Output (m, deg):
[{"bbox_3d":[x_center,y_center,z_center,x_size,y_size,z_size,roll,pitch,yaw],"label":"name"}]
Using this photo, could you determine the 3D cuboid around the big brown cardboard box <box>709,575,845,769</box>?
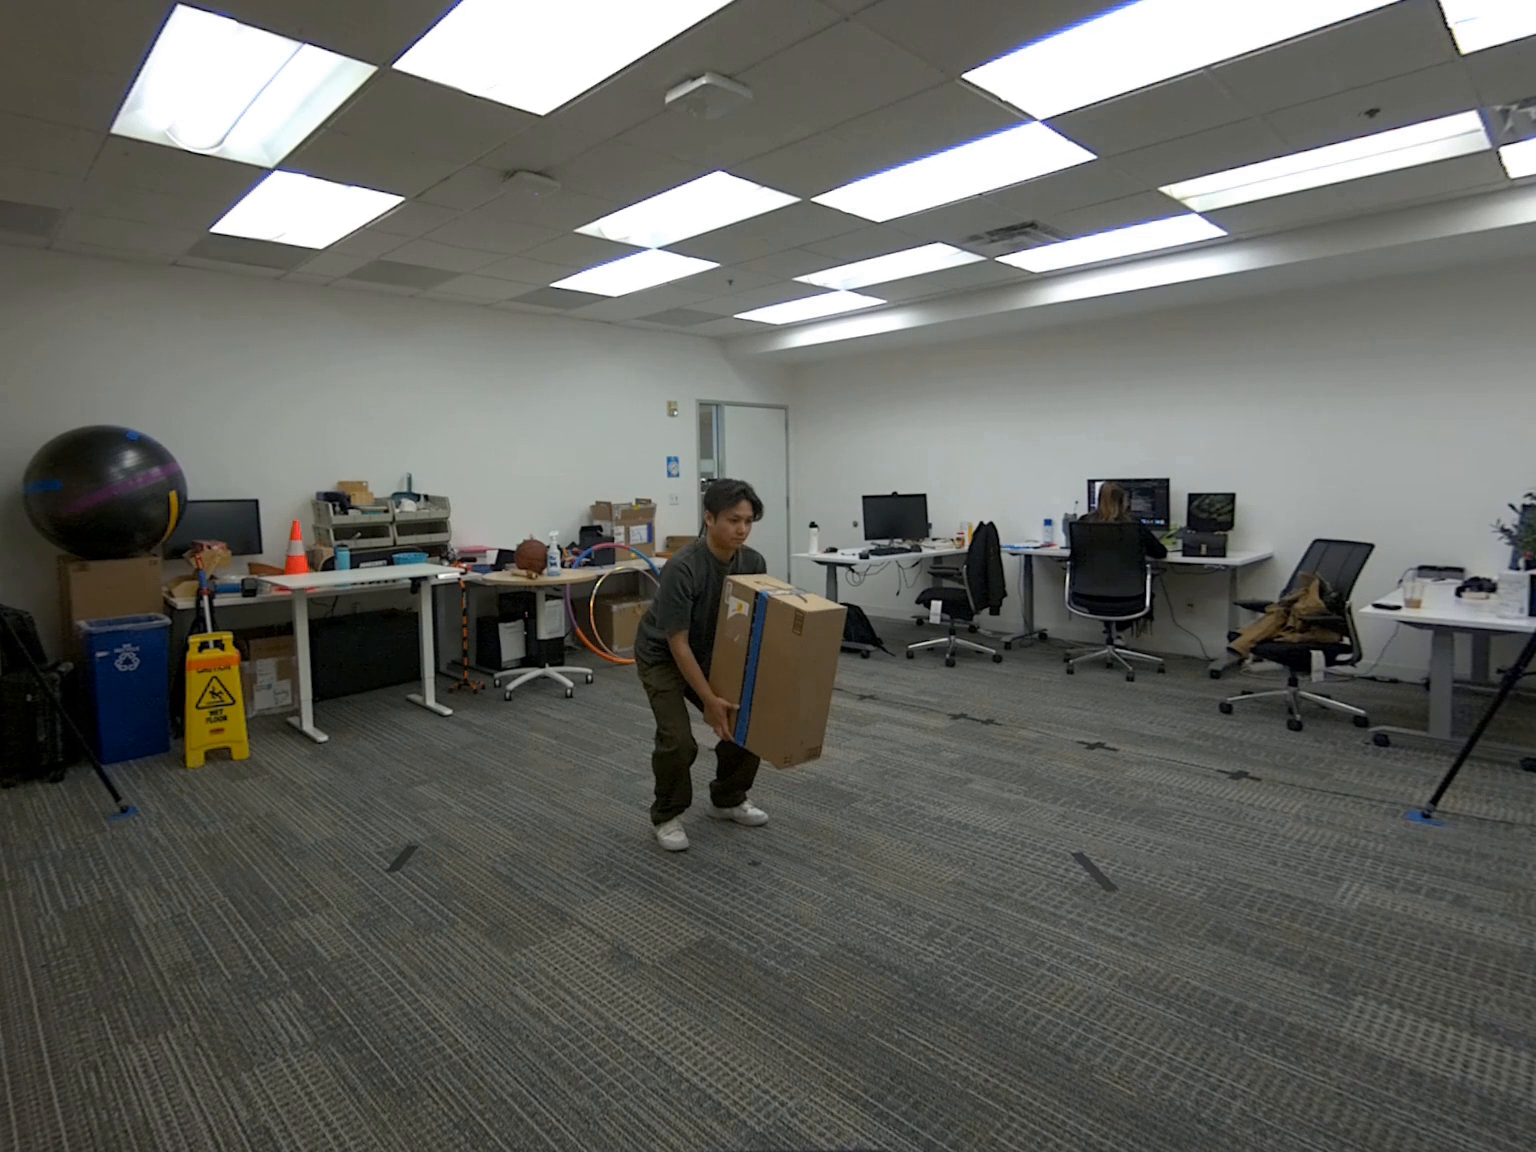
[{"bbox_3d":[0.018,0.329,3.075,0.227,0.584,0.433,-2,16,-44],"label":"big brown cardboard box"}]
